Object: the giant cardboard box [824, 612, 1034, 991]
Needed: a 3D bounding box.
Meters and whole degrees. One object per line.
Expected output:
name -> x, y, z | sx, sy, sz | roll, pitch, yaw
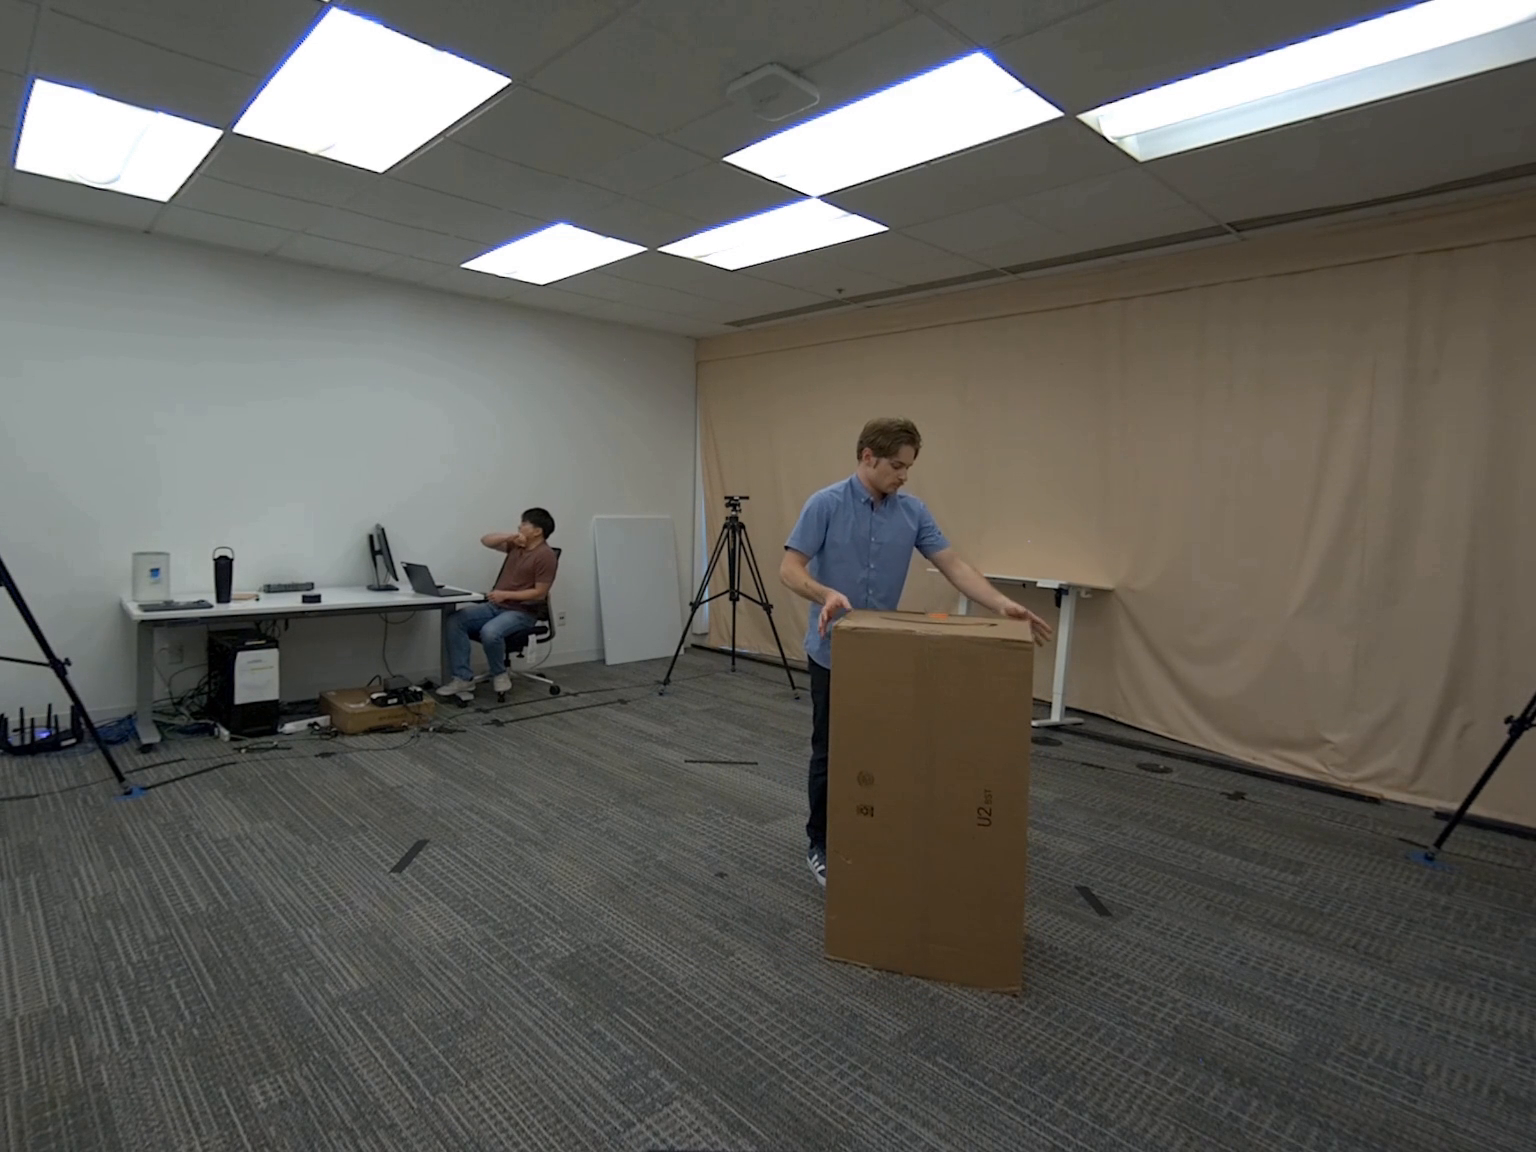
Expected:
giant cardboard box -> 0.503, 0.656, 2.641 | 0.586, 1.023, 0.421 | 2, 4, 18
